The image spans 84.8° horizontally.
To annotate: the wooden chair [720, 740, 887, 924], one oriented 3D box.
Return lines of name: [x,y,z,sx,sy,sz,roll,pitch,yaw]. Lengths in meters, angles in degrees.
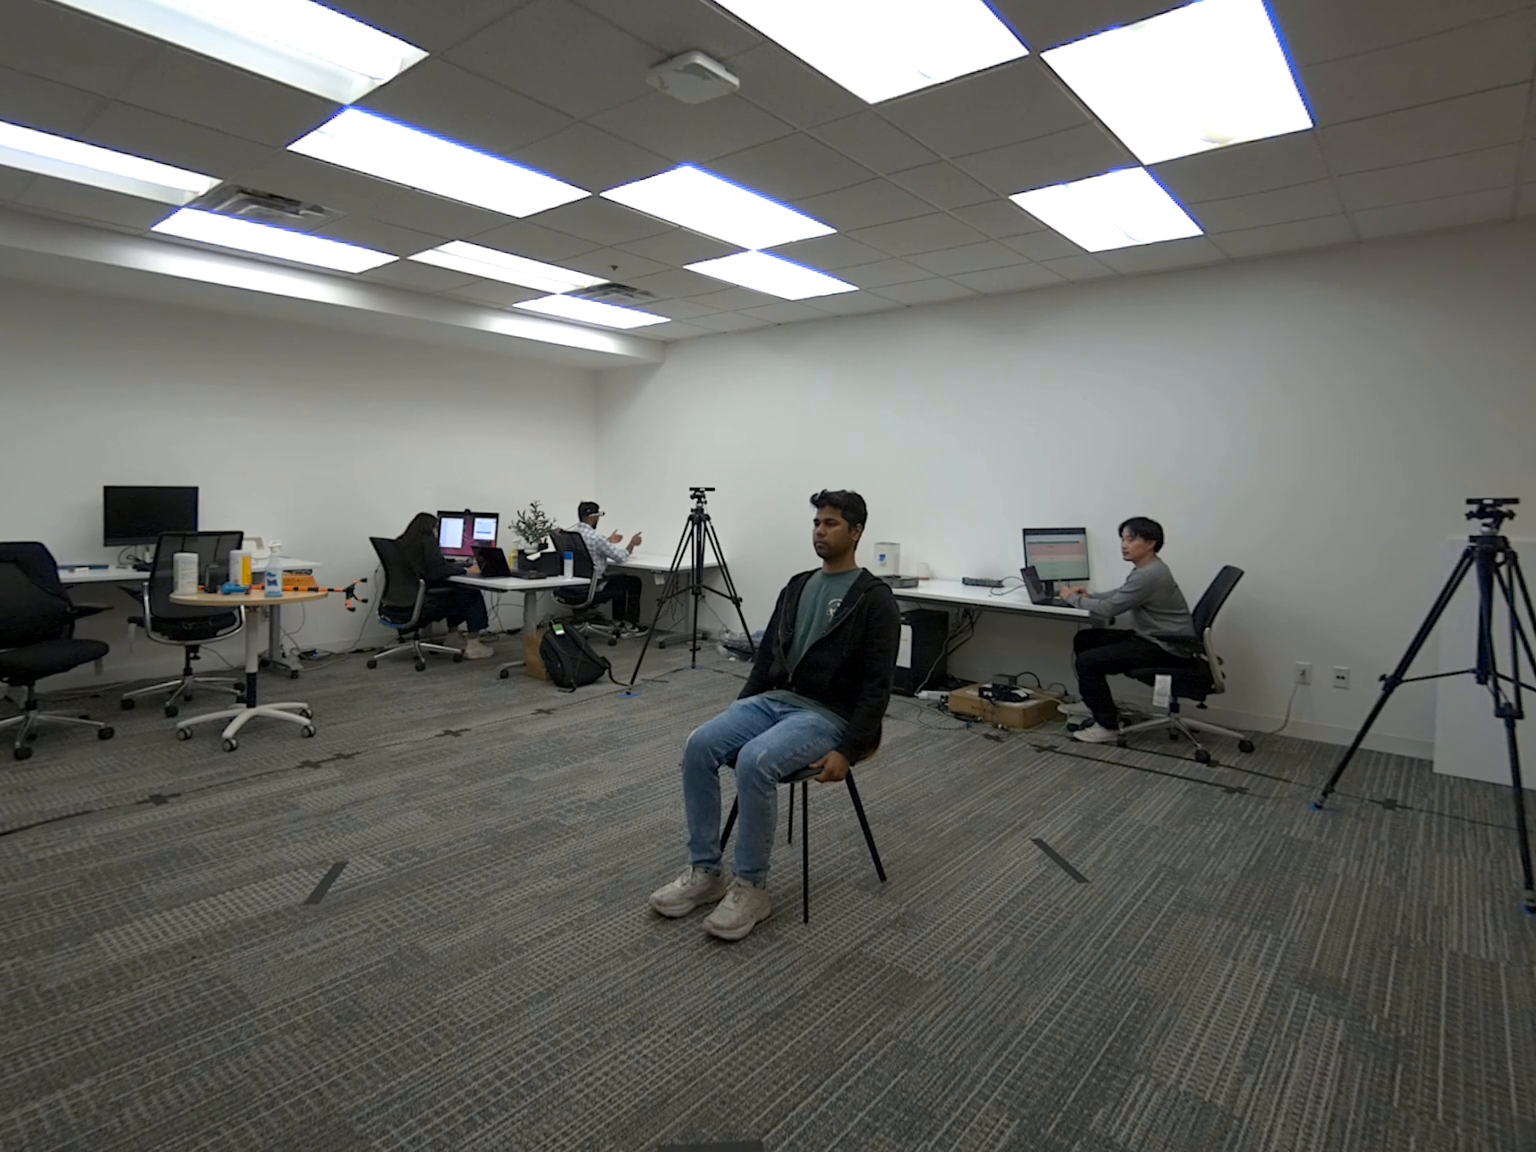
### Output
wooden chair: [0.103,0.654,3.007,0.494,0.877,0.505,5,0,43]
